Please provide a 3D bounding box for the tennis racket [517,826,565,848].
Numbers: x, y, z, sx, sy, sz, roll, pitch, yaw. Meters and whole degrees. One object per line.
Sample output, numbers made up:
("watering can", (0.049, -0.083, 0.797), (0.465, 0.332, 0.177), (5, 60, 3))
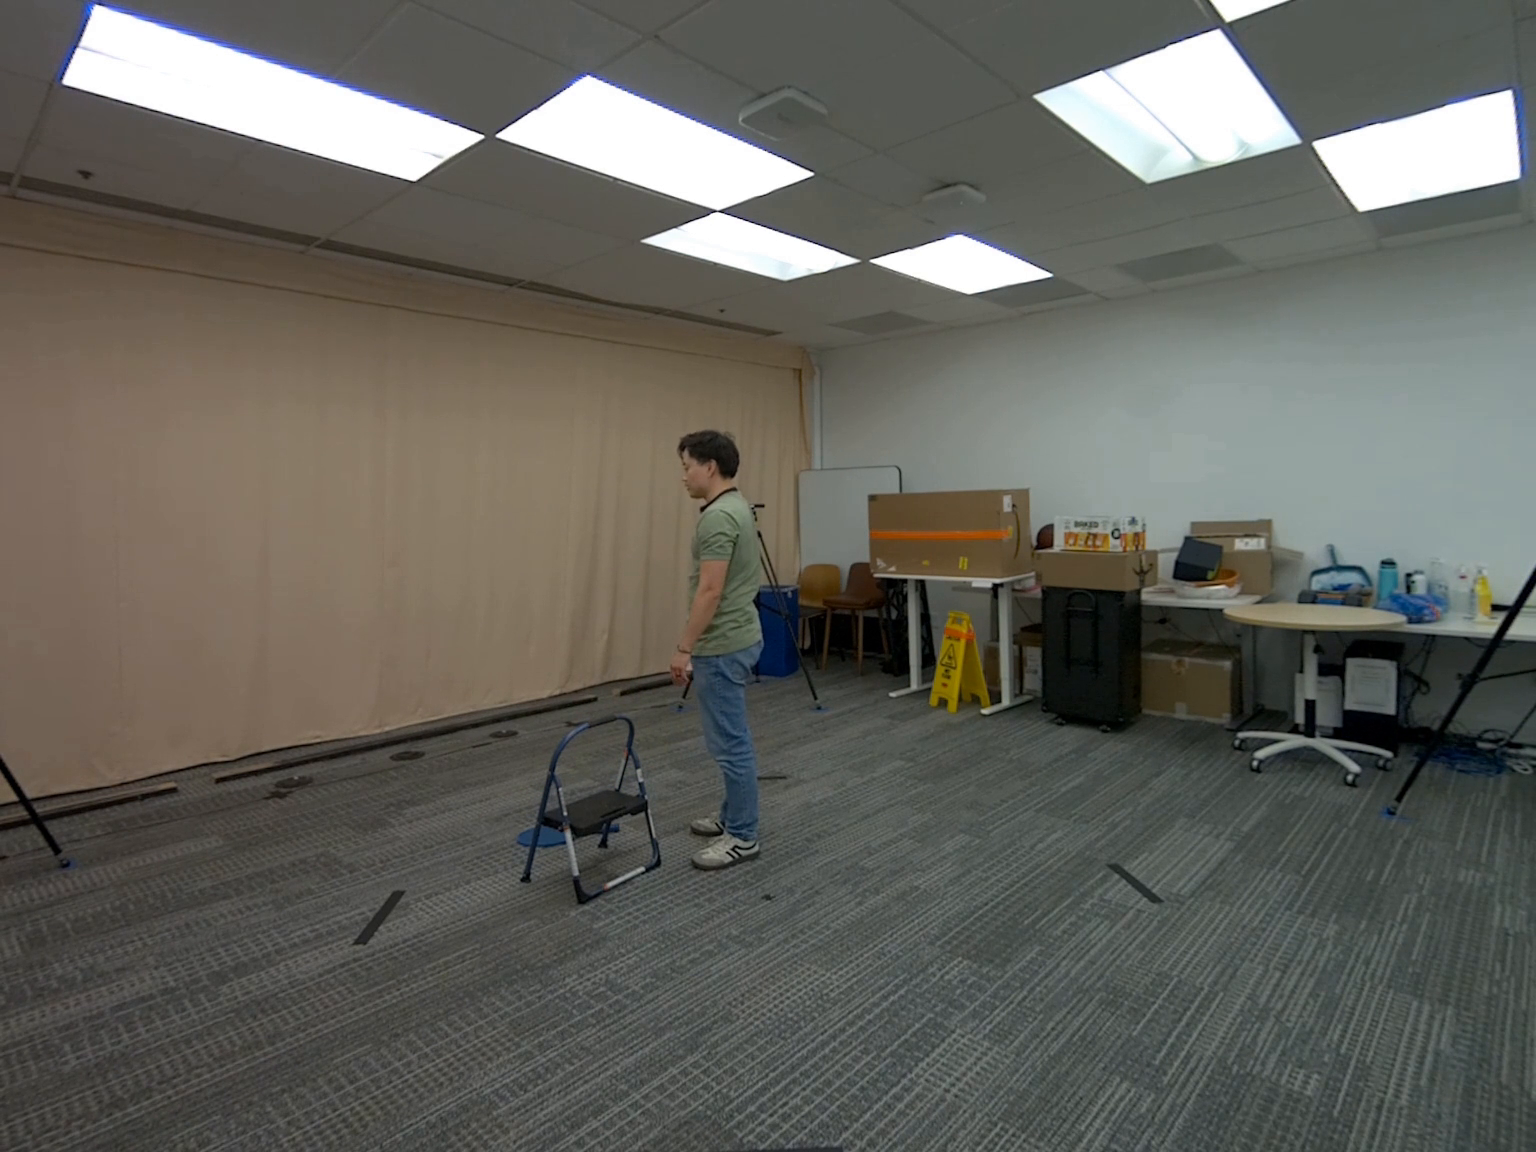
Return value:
("tennis racket", (-0.849, 1.098, 3.590), (0.428, 0.031, 0.217), (-4, 6, -10))
